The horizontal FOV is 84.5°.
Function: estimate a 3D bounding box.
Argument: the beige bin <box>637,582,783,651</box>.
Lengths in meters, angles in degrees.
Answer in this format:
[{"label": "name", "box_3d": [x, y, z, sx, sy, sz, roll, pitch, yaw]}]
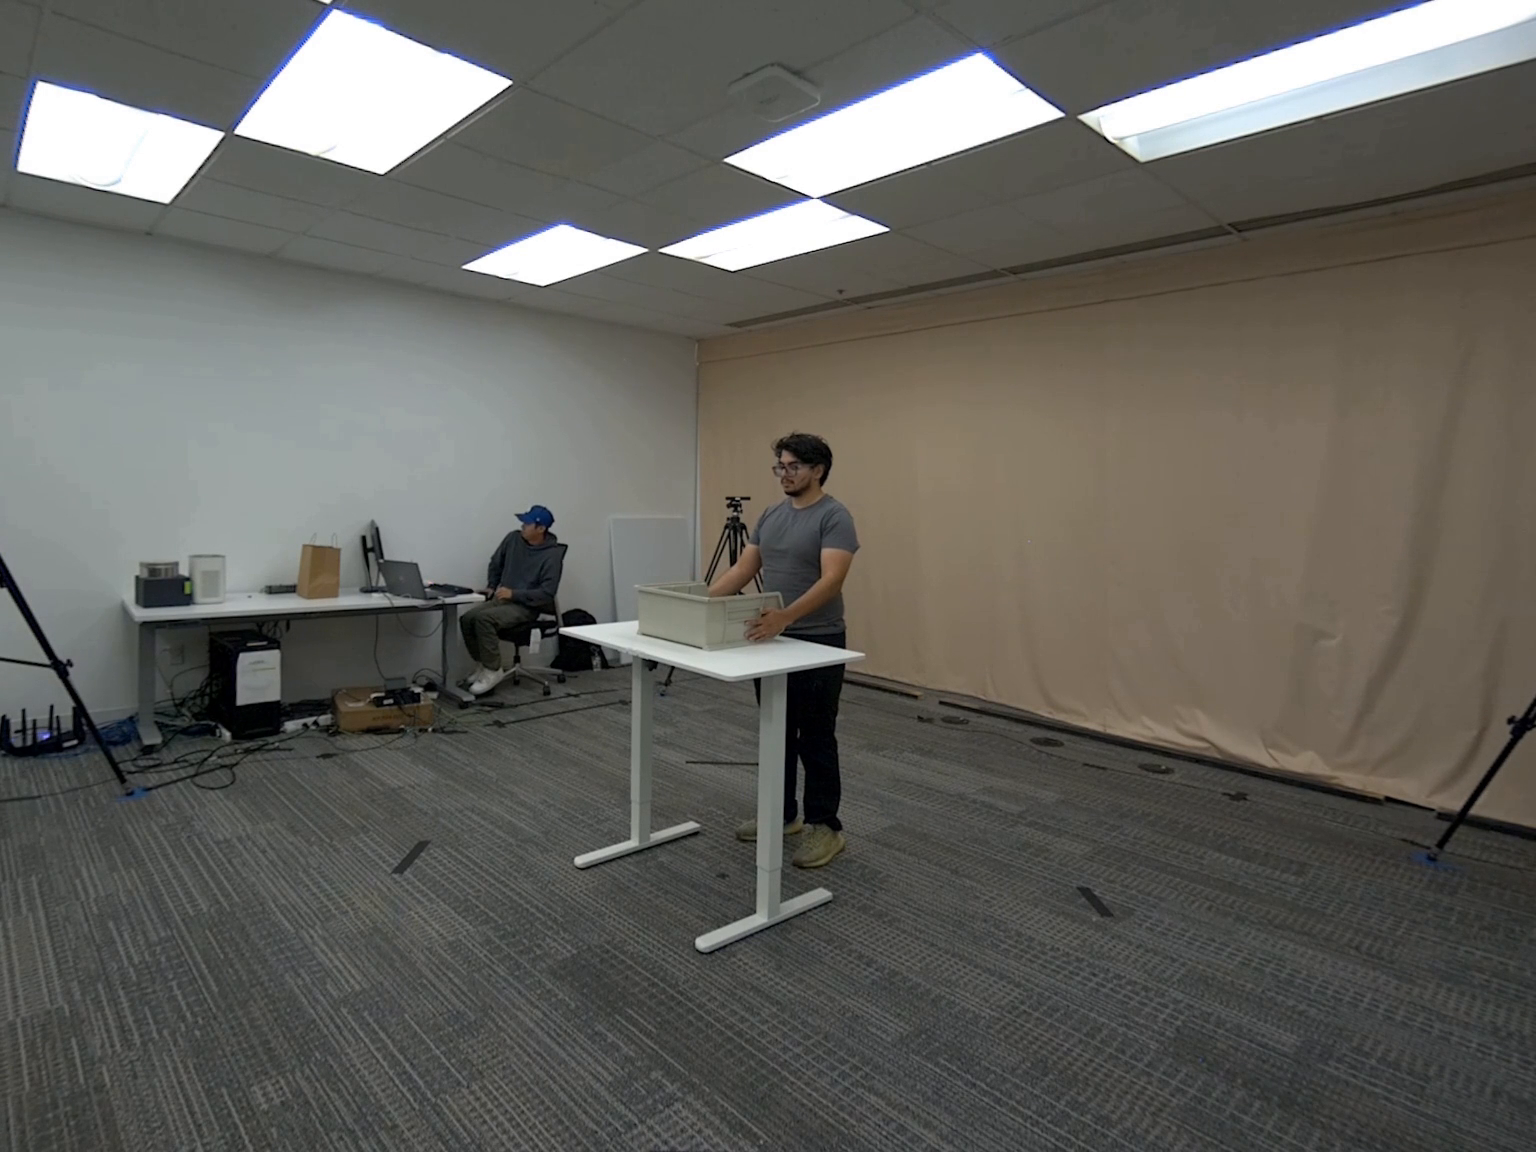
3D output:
[{"label": "beige bin", "box_3d": [-0.228, 0.142, 3.048, 0.369, 0.188, 0.433, -5, 8, -44]}]
